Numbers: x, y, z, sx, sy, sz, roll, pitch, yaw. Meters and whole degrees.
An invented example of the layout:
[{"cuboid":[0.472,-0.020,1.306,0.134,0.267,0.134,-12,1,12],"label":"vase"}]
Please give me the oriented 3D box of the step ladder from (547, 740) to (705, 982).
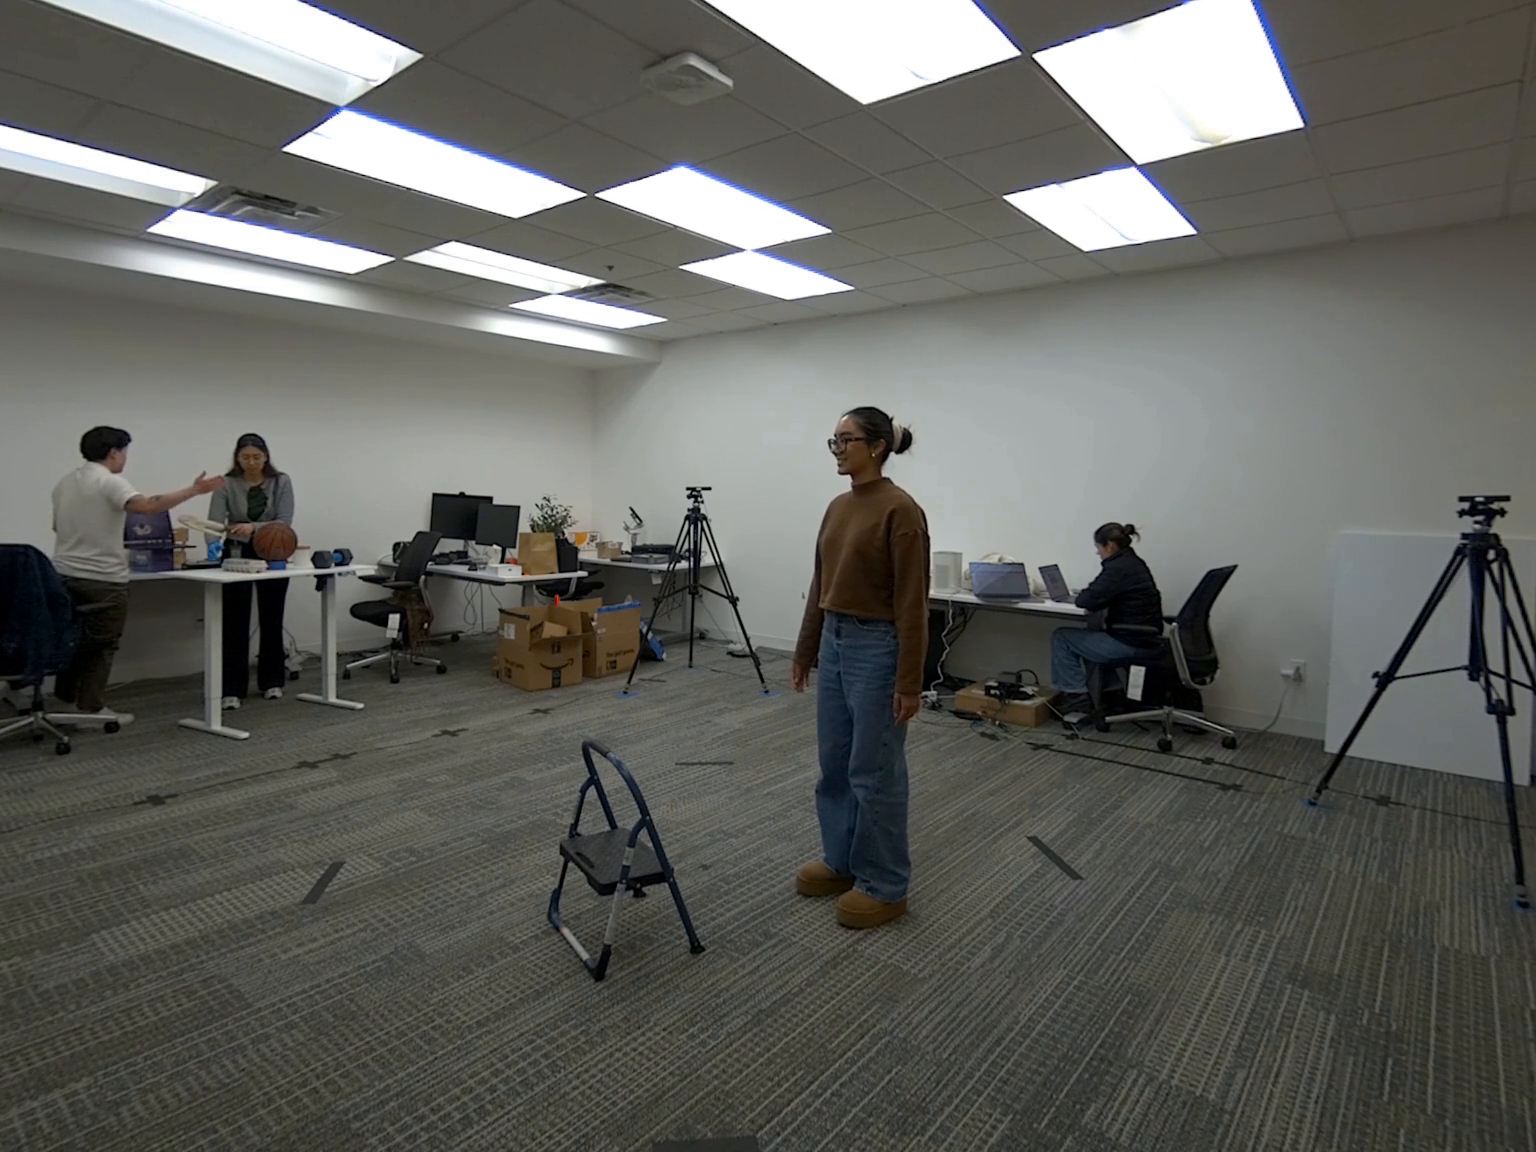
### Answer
[{"cuboid":[-0.458,0.808,2.624,0.339,0.604,0.444,-1,4,-34],"label":"step ladder"}]
